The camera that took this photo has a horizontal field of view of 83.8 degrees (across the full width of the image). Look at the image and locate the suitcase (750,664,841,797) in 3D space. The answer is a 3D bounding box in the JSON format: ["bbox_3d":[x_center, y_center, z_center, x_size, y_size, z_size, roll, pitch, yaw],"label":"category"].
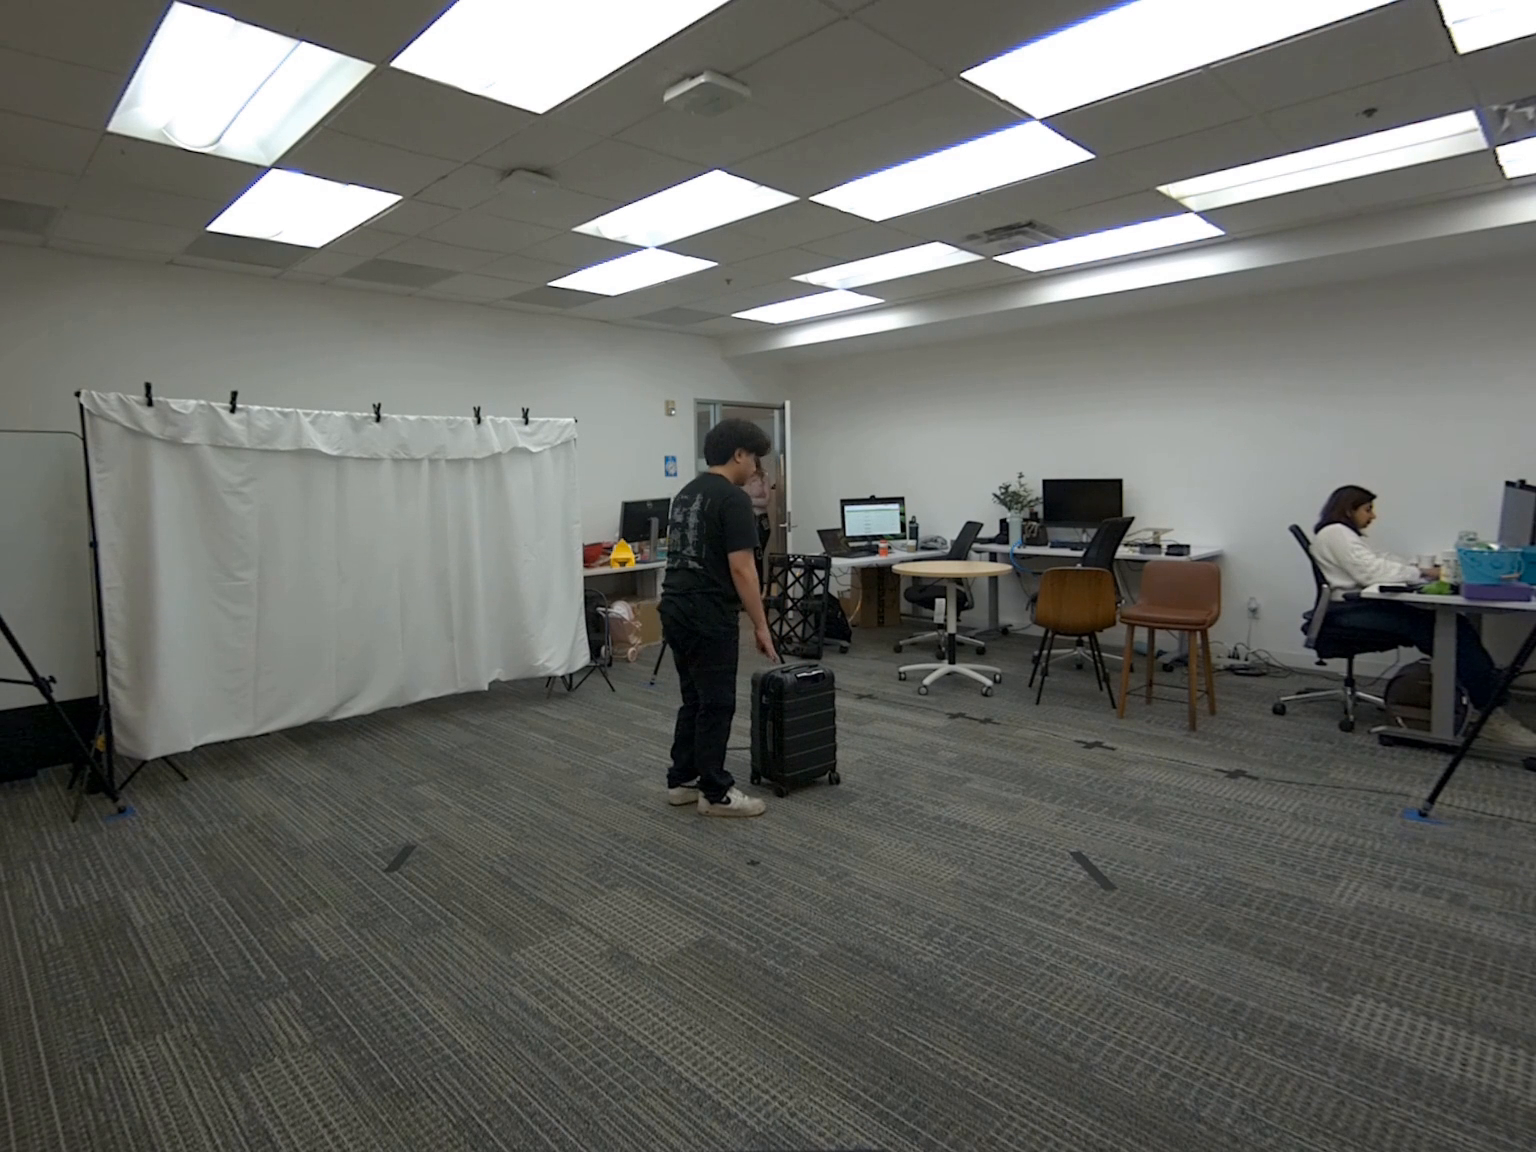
[{"bbox_3d":[0.113,0.676,3.900,0.365,0.547,0.256,-4,5,-38],"label":"suitcase"}]
